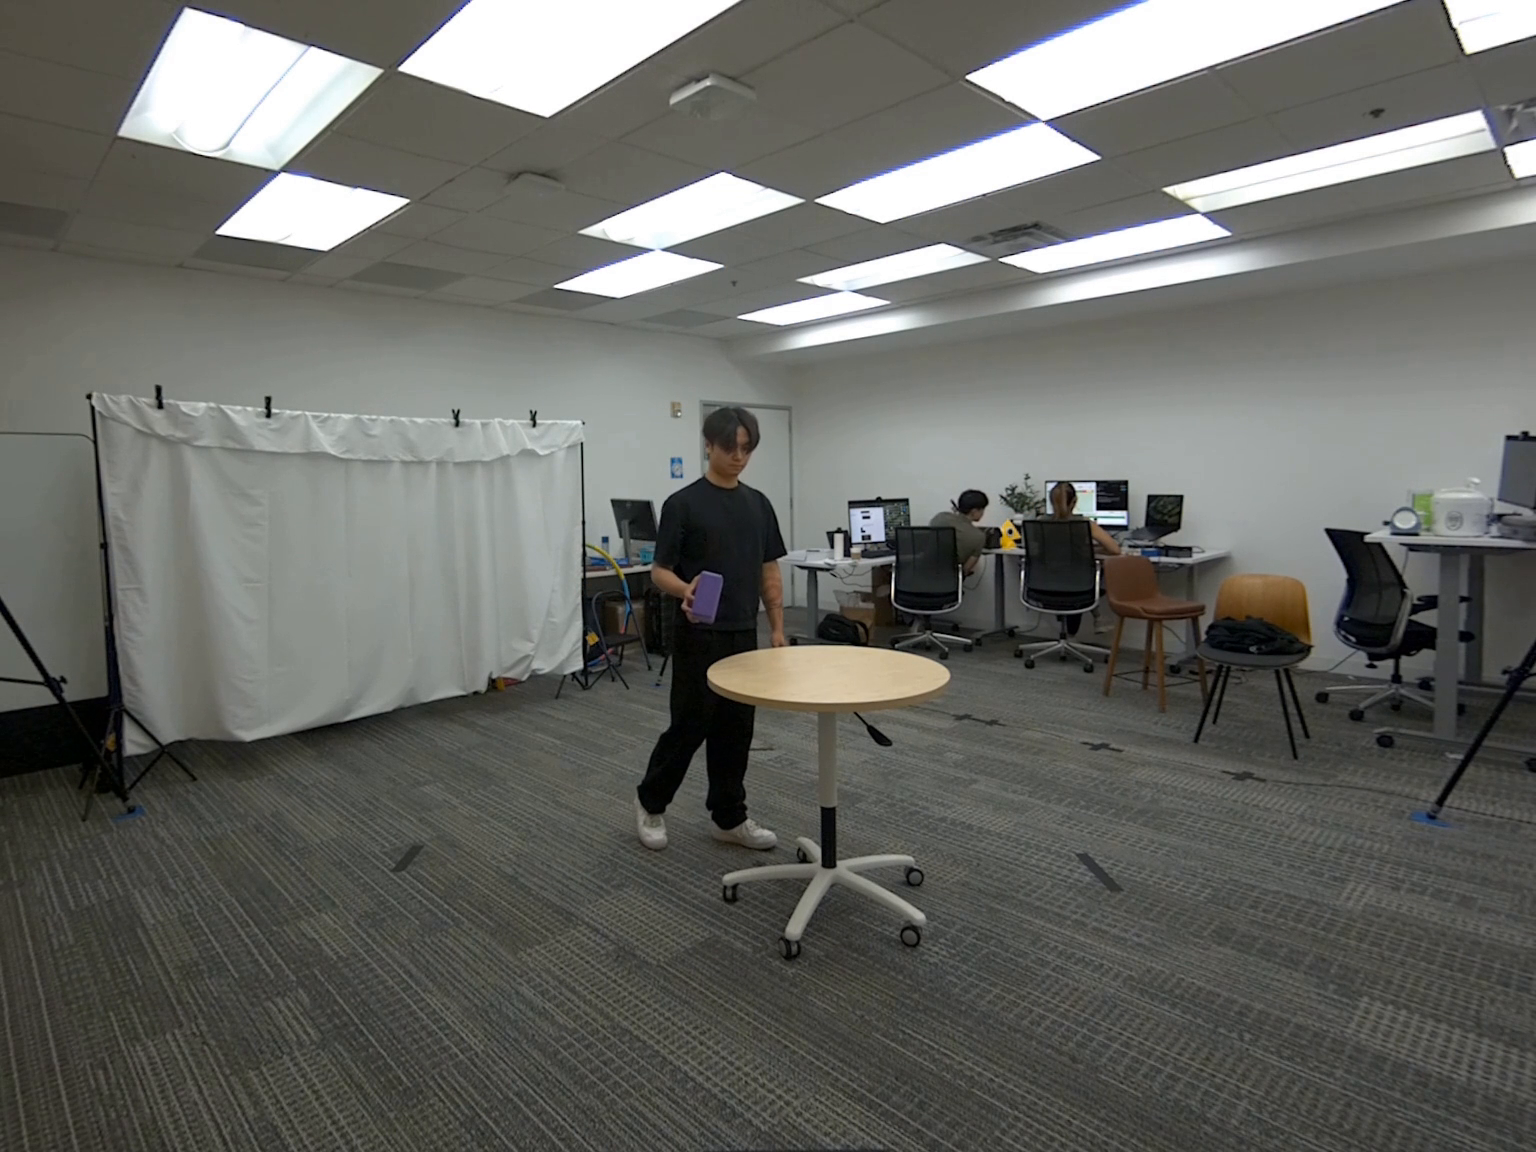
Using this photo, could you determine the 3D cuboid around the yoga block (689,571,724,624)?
[{"bbox_3d":[-0.211,0.075,2.869,0.077,0.150,0.227,10,-5,3],"label":"yoga block"}]
